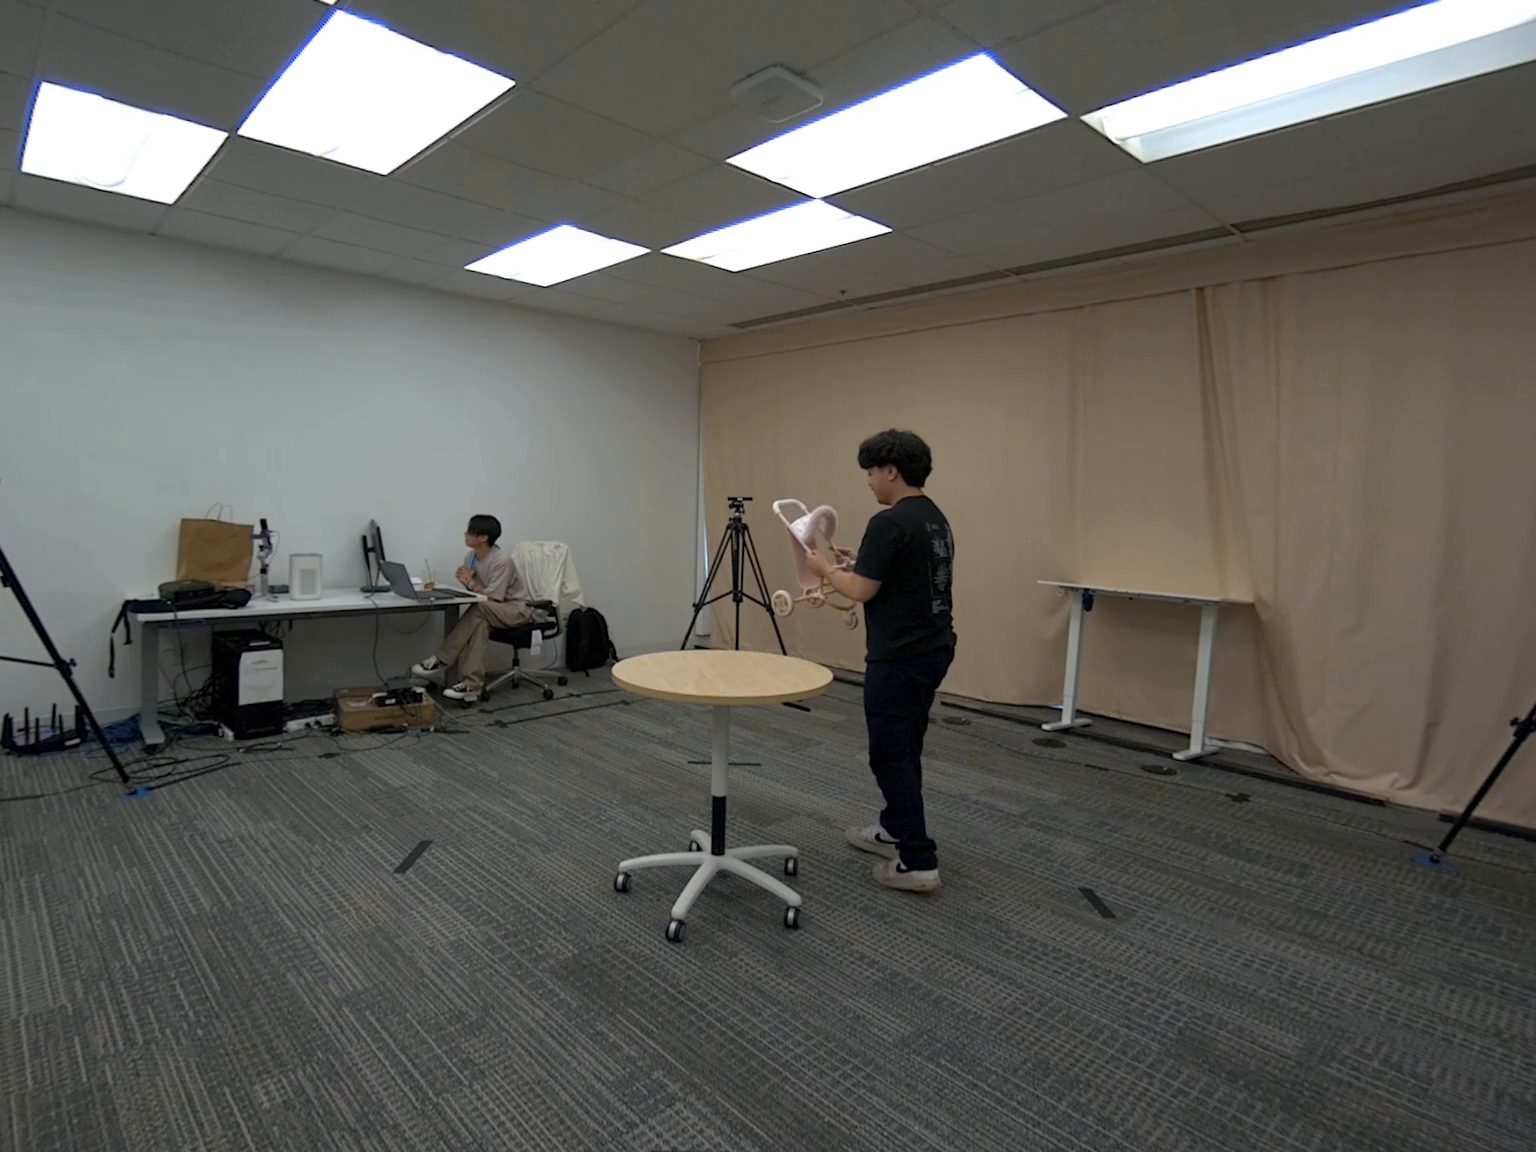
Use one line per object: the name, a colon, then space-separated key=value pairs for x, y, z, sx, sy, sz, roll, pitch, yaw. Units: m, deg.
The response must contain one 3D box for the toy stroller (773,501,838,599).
toy stroller: x=0.203 y=-0.051 z=3.475 sx=0.349 sy=0.533 sz=0.276 roll=1 pitch=6 yaw=41
